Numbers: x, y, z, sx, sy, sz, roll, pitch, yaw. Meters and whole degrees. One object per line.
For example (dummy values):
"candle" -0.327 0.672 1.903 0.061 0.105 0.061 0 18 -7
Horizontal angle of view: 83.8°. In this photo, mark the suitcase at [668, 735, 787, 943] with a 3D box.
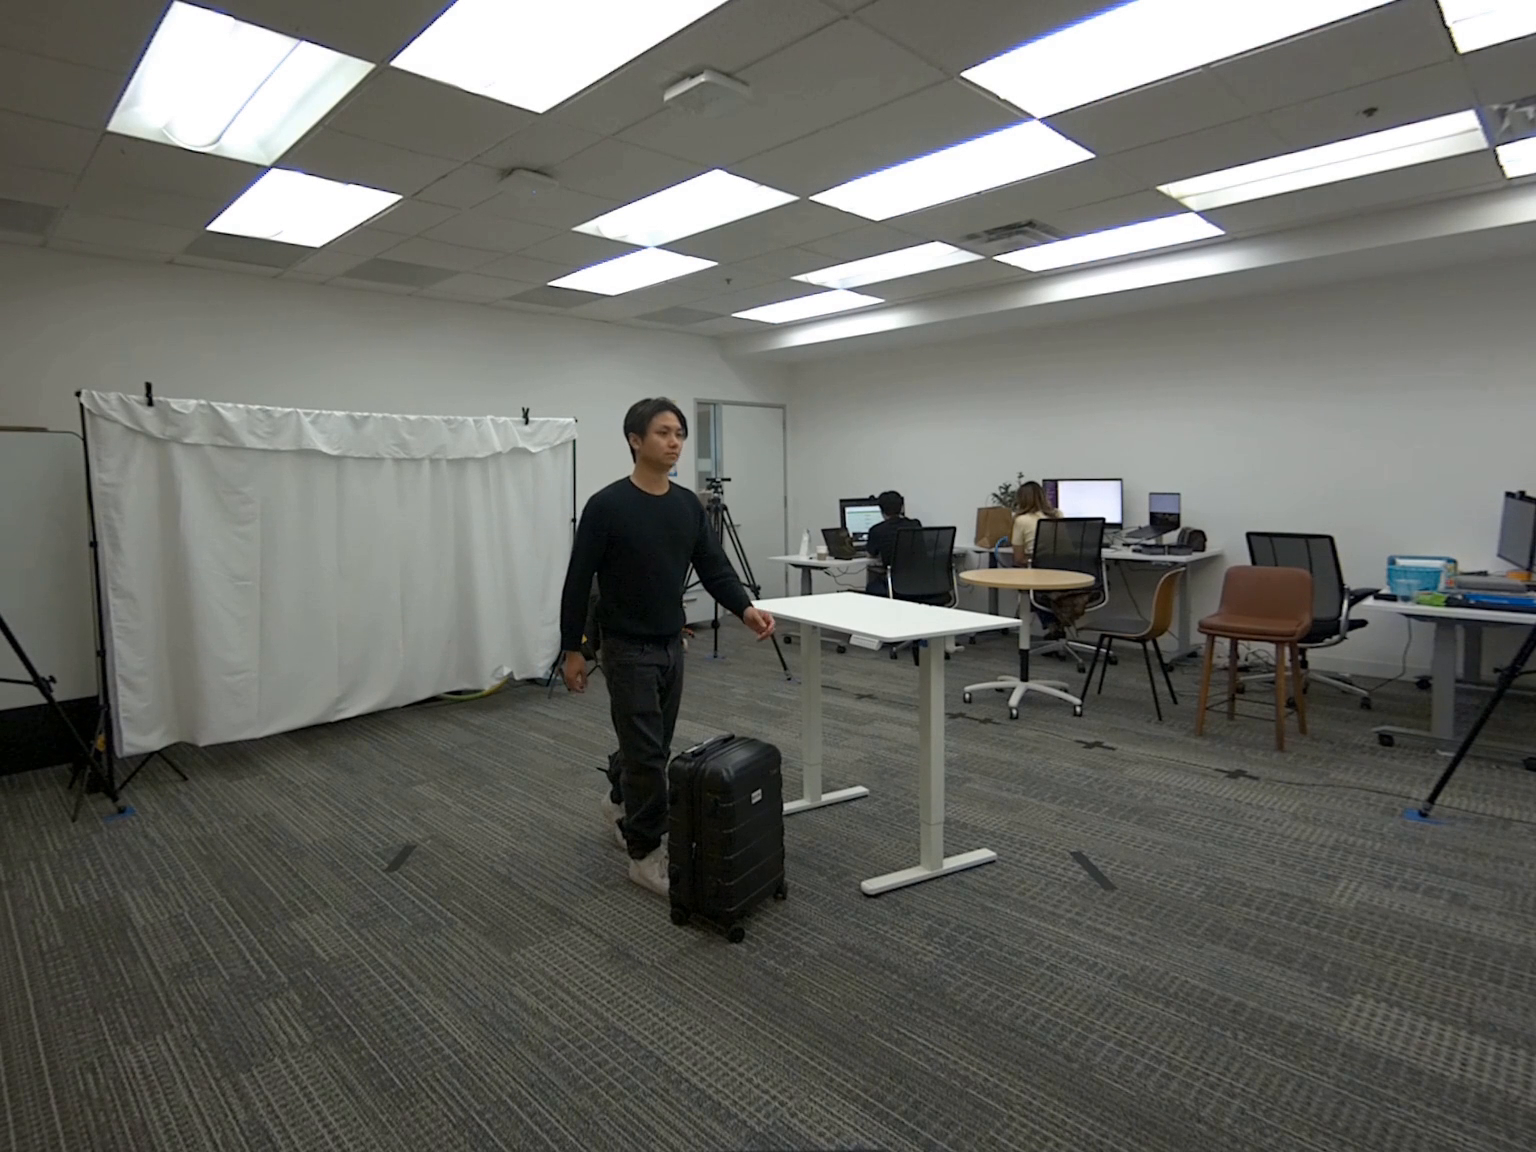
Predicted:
"suitcase" -0.127 0.806 2.740 0.255 0.547 0.366 2 5 33
